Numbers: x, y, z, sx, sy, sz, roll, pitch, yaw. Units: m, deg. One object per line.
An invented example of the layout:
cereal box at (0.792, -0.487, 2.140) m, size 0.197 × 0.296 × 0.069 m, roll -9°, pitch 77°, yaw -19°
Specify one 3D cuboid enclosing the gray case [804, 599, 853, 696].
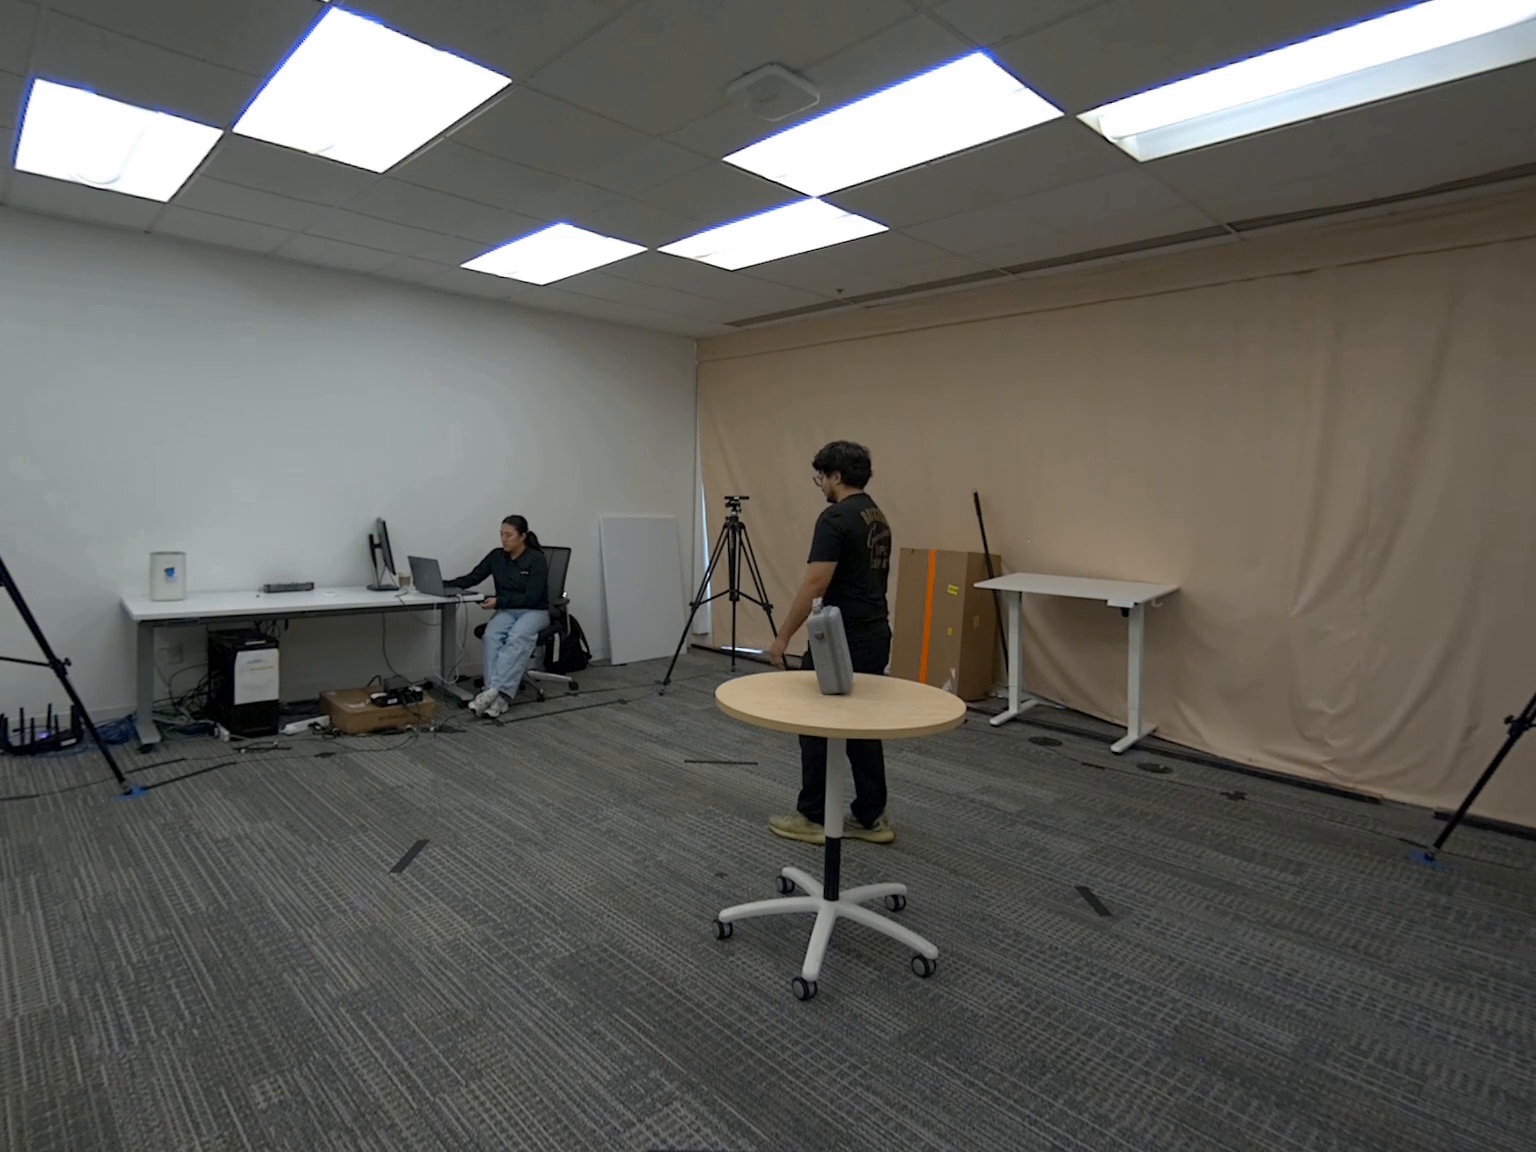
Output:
gray case at (0.179, 0.229, 2.714) m, size 0.105 × 0.260 × 0.256 m, roll -10°, pitch 3°, yaw 7°
